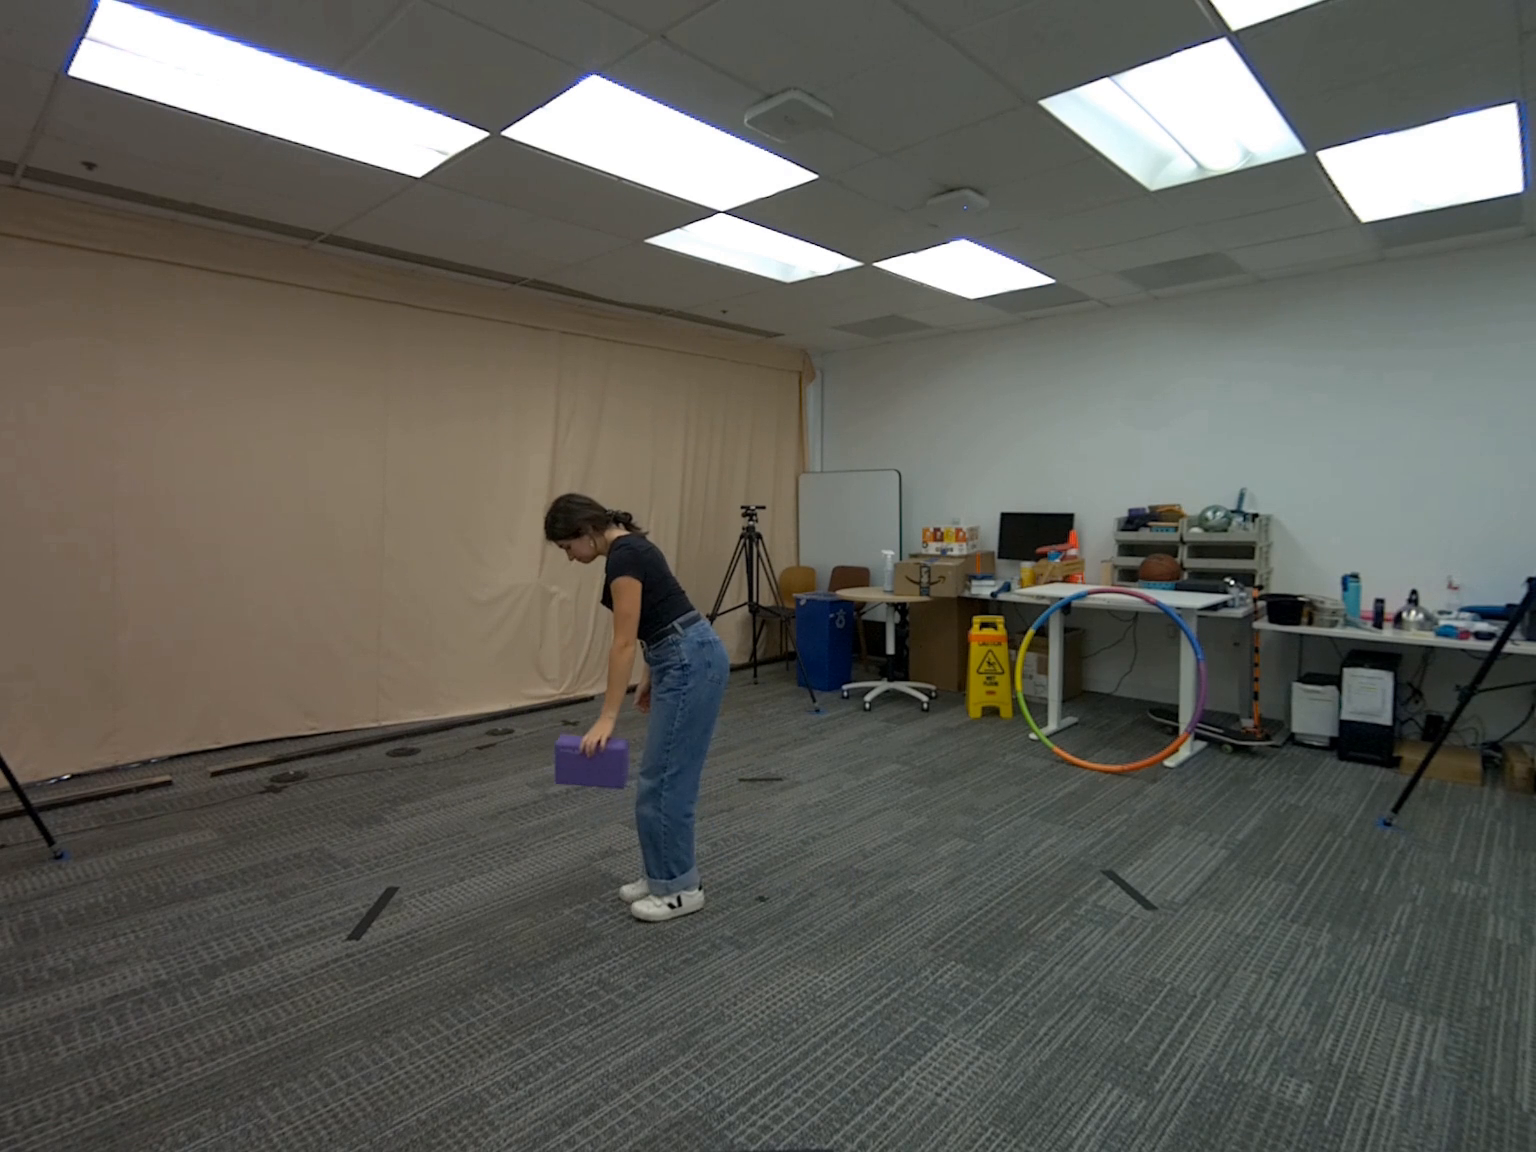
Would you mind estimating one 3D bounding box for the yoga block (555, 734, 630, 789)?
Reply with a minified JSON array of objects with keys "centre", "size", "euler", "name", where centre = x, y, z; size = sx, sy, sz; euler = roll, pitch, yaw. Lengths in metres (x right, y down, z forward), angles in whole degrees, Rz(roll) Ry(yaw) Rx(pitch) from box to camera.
[{"centre":[-0.577,0.606,2.726],"size":[0.230,0.148,0.077],"euler":[5,13,2],"name":"yoga block"}]
